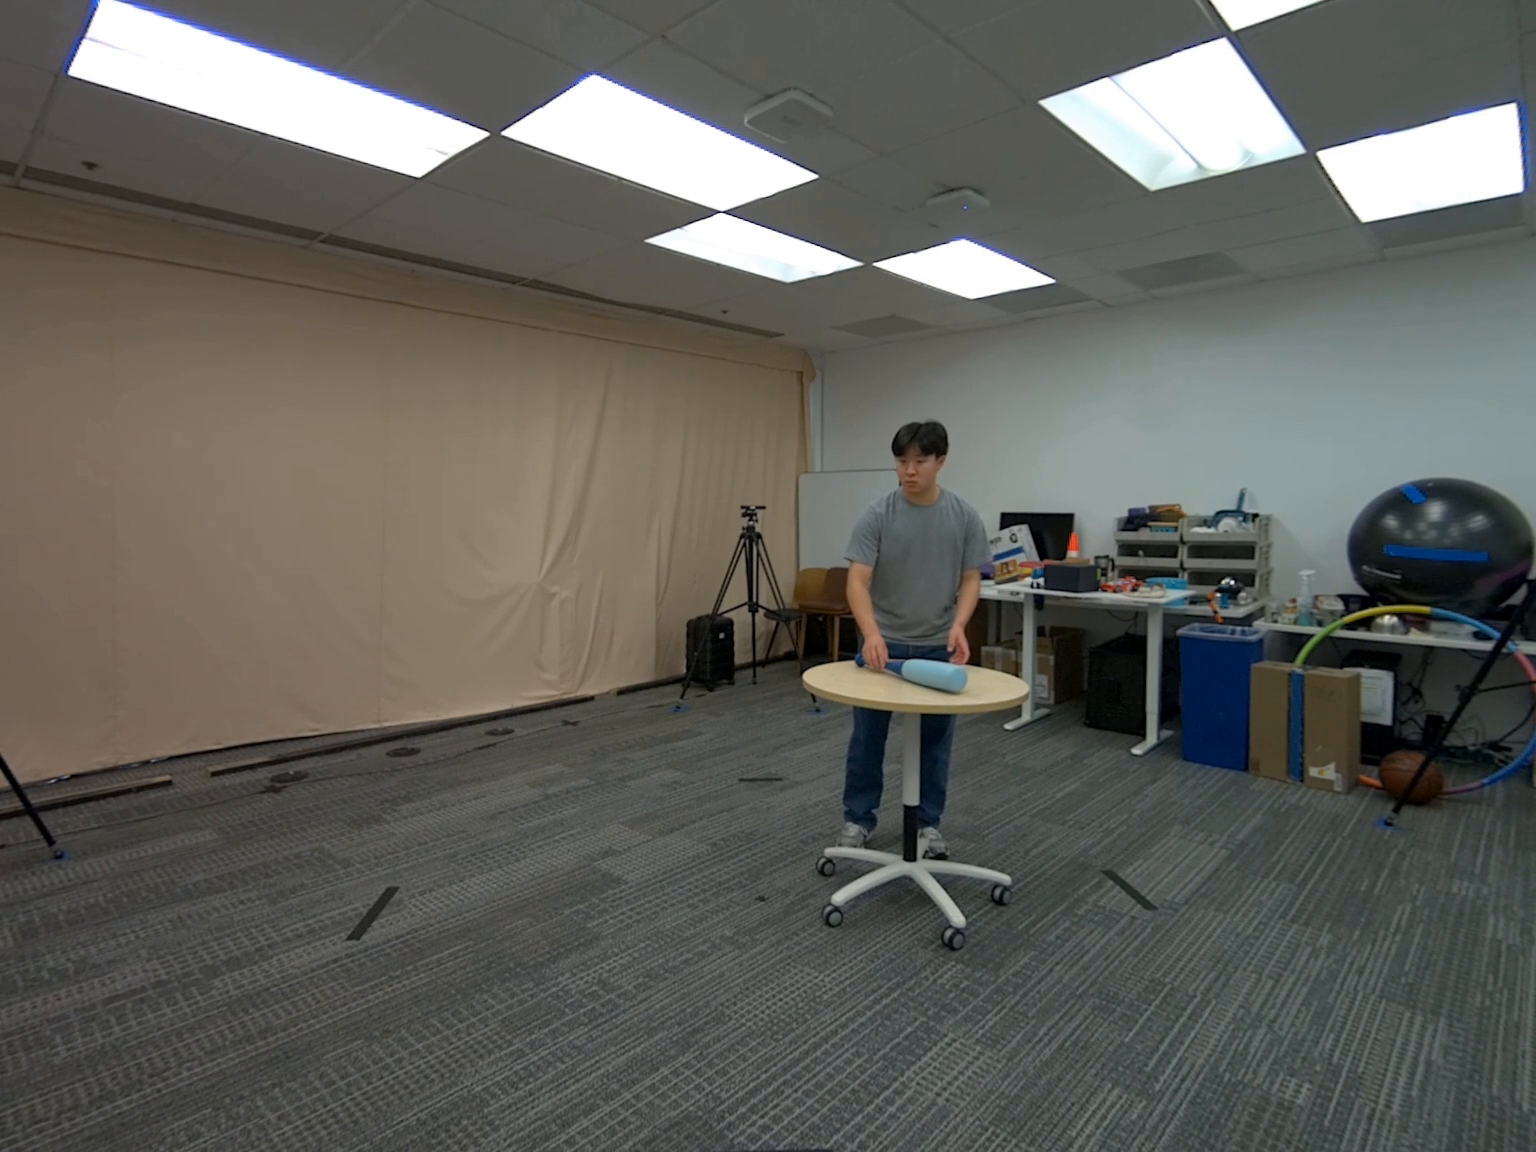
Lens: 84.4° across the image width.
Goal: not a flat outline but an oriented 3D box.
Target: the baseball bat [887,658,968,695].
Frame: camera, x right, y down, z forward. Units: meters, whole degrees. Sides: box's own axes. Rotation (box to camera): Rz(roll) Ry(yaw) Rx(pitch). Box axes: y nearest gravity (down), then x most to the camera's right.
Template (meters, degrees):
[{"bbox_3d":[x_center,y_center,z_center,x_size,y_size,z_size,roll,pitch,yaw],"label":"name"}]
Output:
[{"bbox_3d":[0.491,0.323,2.942,0.087,0.089,0.557,-2,2,-29],"label":"baseball bat"}]
